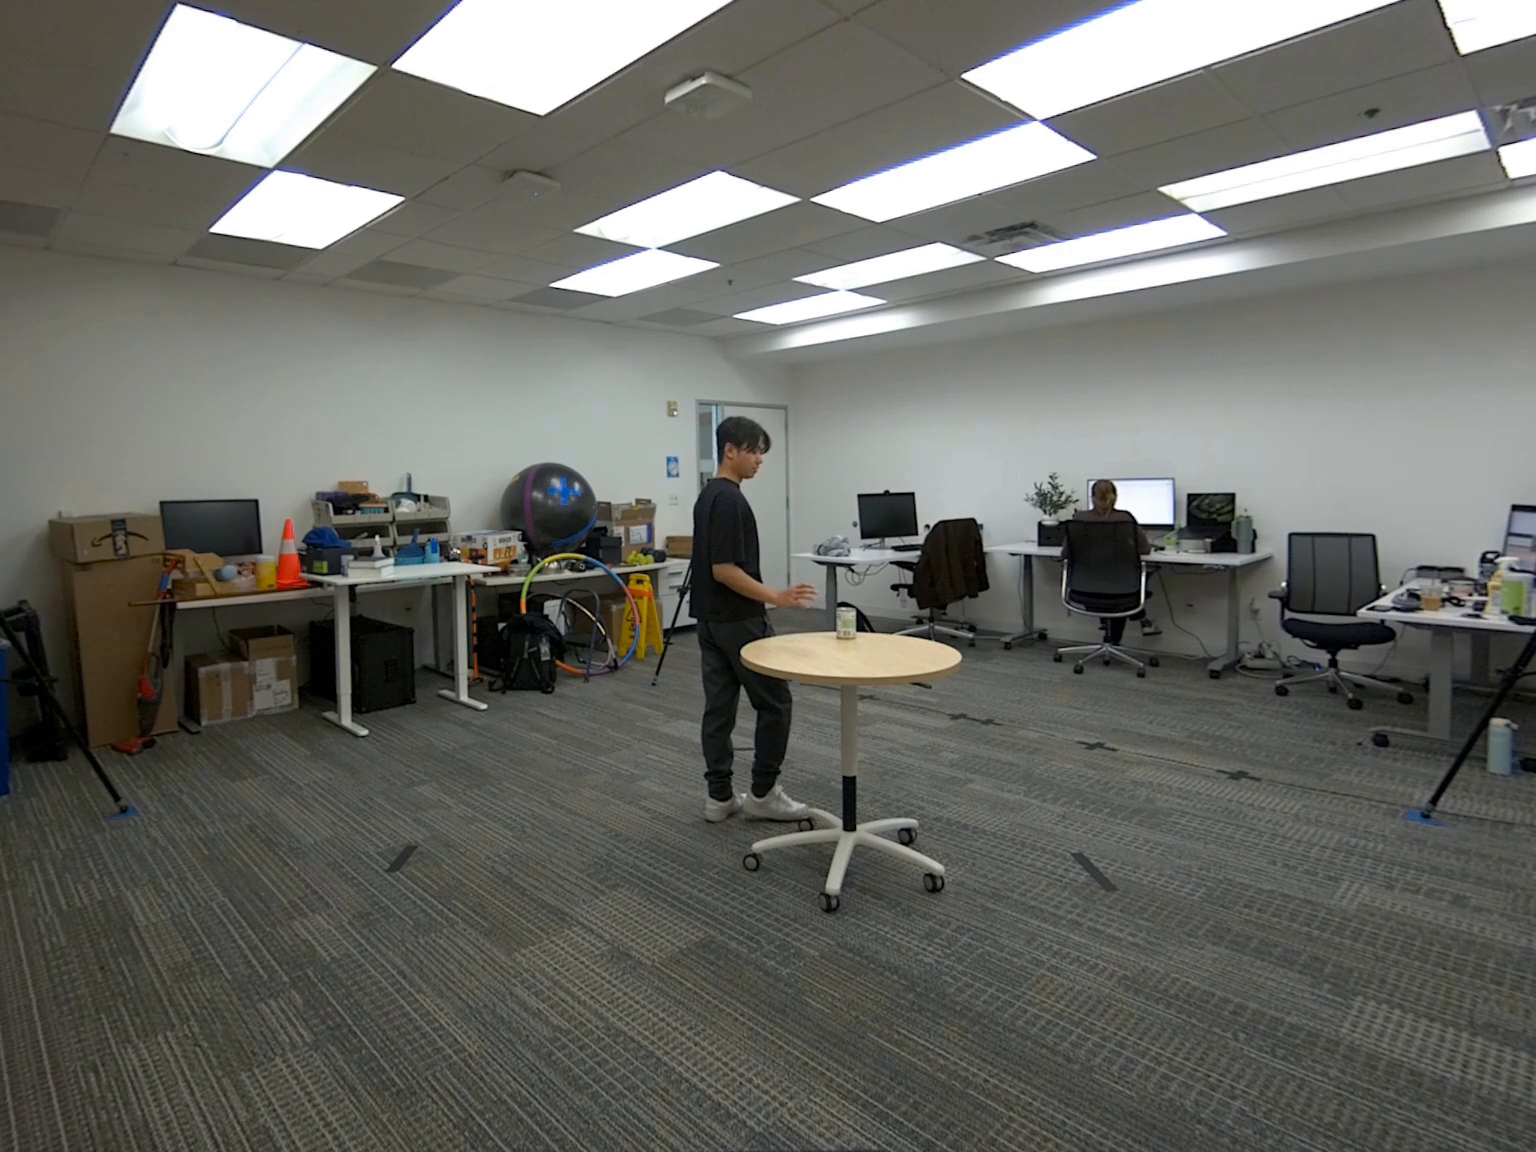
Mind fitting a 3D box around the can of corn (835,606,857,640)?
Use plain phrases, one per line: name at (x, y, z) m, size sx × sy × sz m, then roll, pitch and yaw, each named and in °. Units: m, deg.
can of corn at (0.305, 0.182, 3.267) m, size 0.074 × 0.111 × 0.074 m, roll 1°, pitch 3°, yaw -2°
